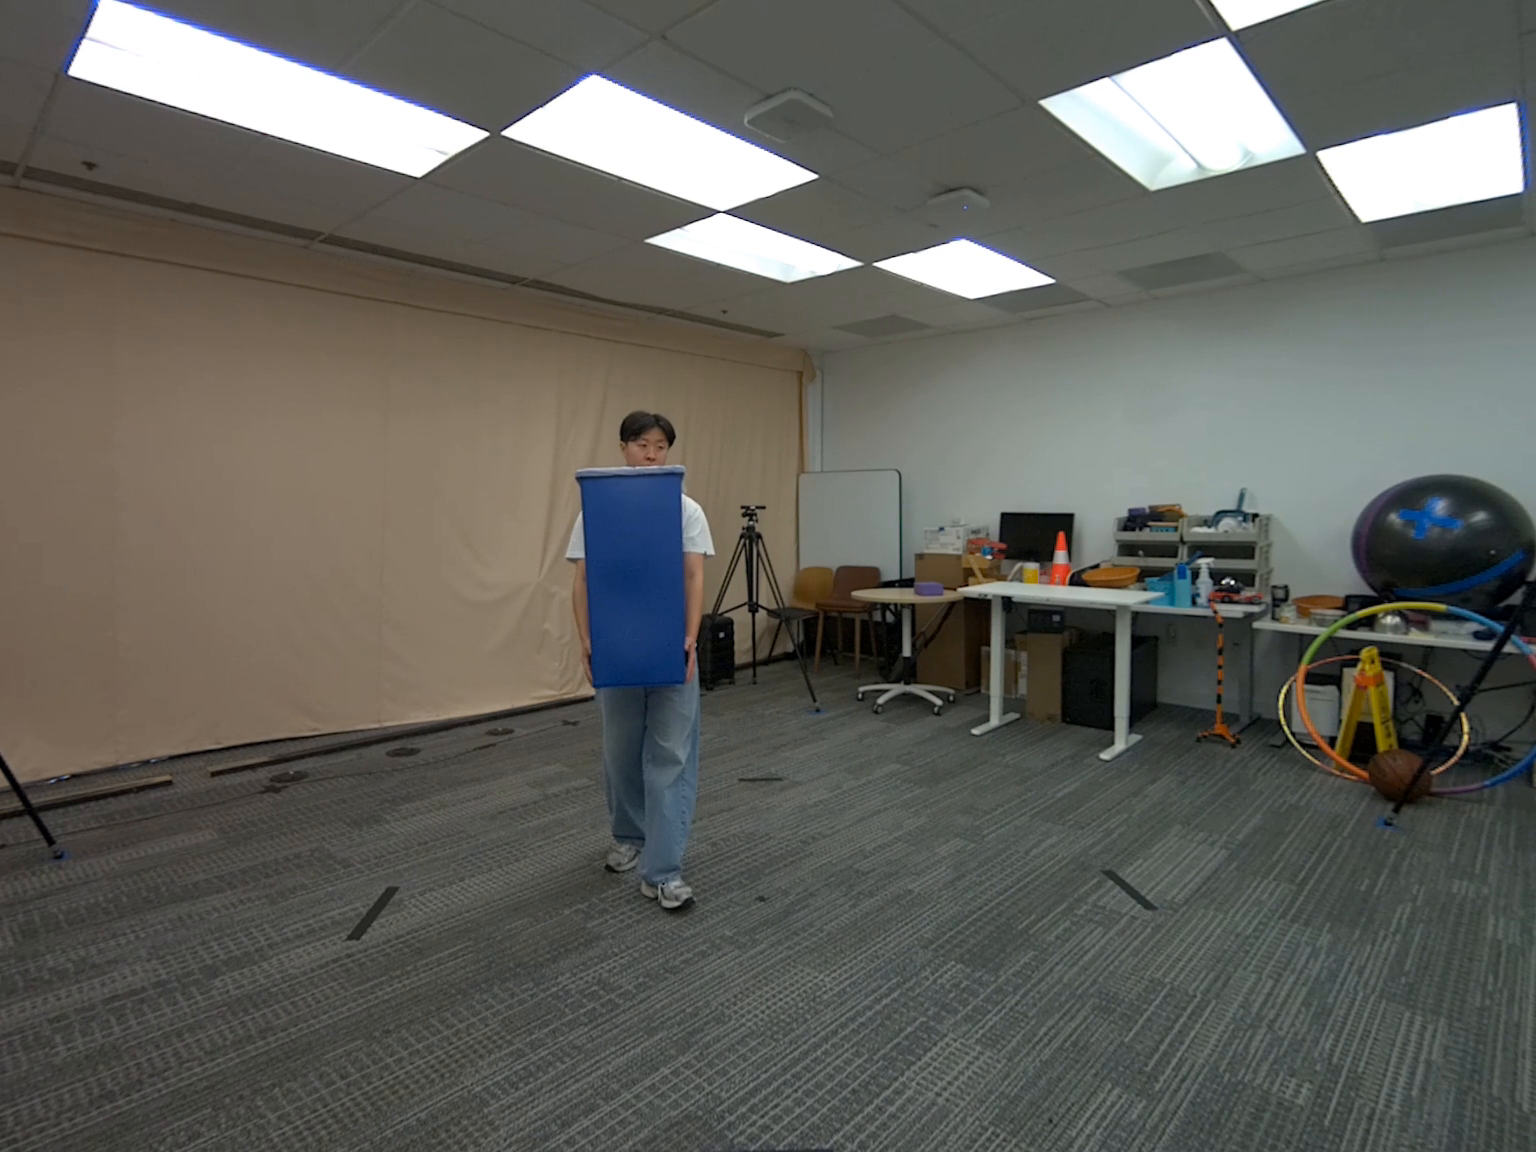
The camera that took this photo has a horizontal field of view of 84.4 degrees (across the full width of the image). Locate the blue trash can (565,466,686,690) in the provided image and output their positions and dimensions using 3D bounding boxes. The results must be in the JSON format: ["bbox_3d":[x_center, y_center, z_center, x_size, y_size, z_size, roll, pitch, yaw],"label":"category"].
[{"bbox_3d":[-0.460,0.004,2.900,0.372,0.716,0.379,-2,-5,-7],"label":"blue trash can"}]
